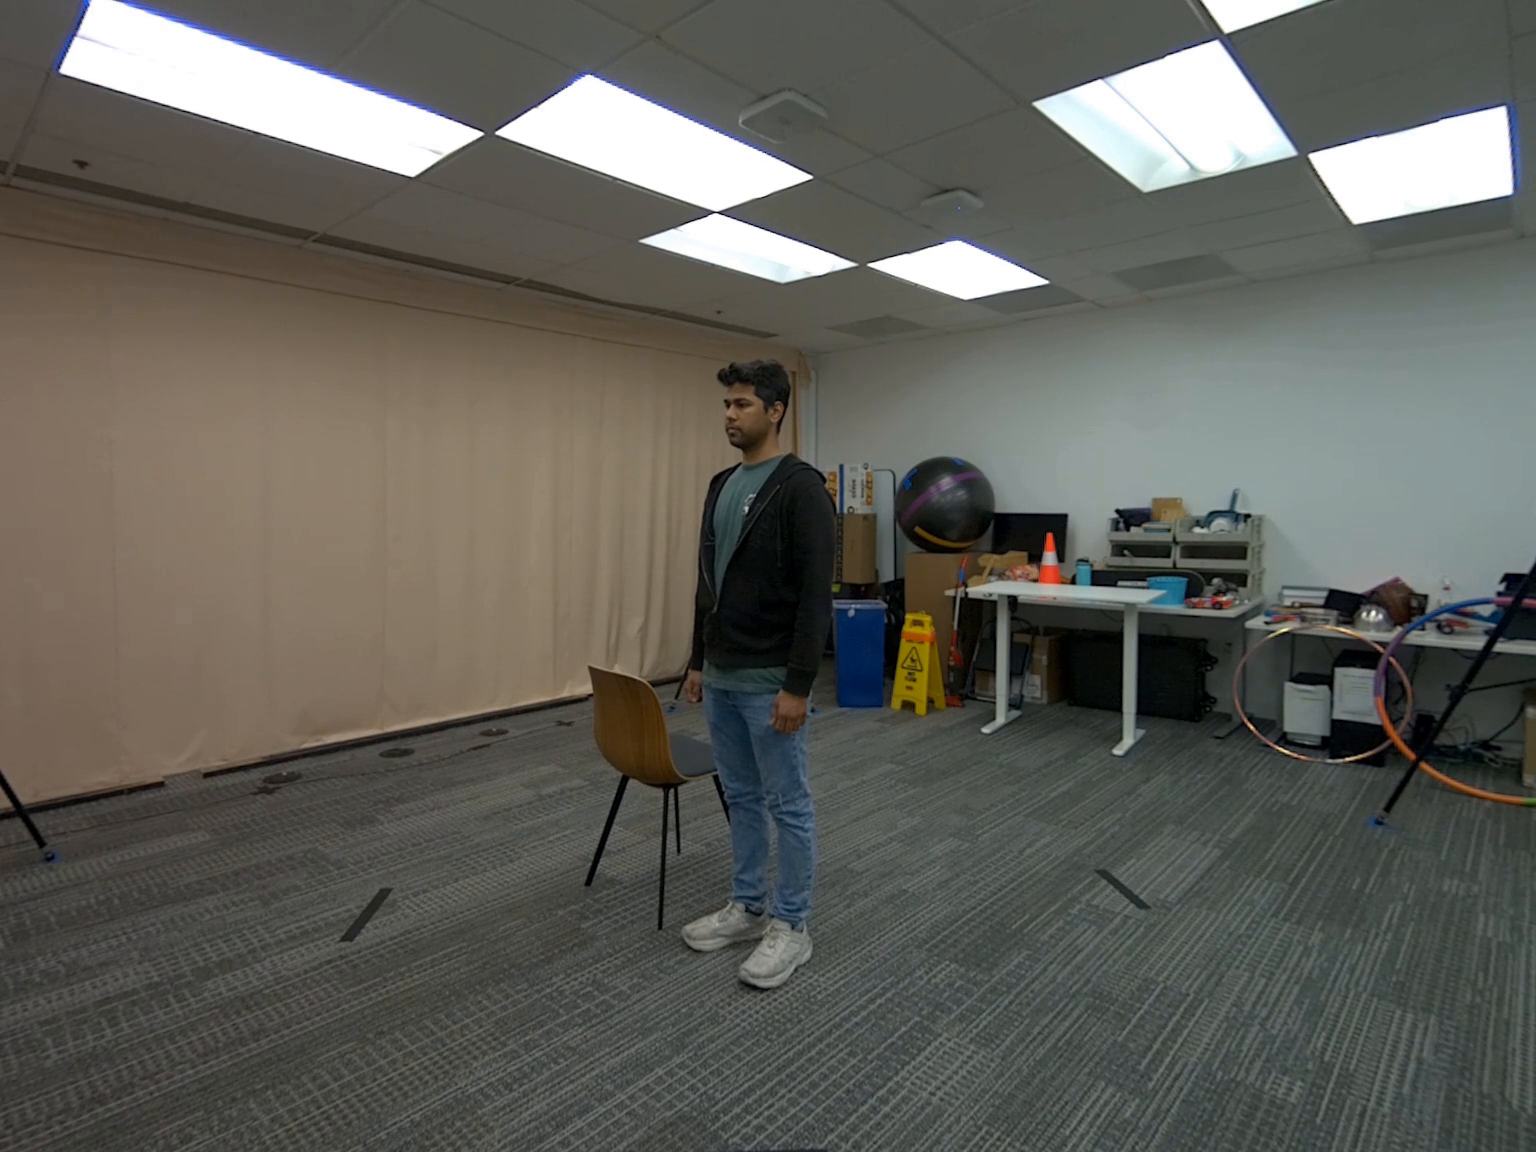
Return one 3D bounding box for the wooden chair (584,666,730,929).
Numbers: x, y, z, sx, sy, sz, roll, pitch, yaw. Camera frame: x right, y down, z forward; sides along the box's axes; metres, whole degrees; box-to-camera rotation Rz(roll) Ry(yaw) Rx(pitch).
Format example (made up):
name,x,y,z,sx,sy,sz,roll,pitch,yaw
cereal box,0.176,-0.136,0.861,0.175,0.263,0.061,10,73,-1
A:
name,x,y,z,sx,sy,sz,roll,pitch,yaw
wooden chair,-0.353,0.714,3.057,0.508,0.874,0.494,-9,8,-43
